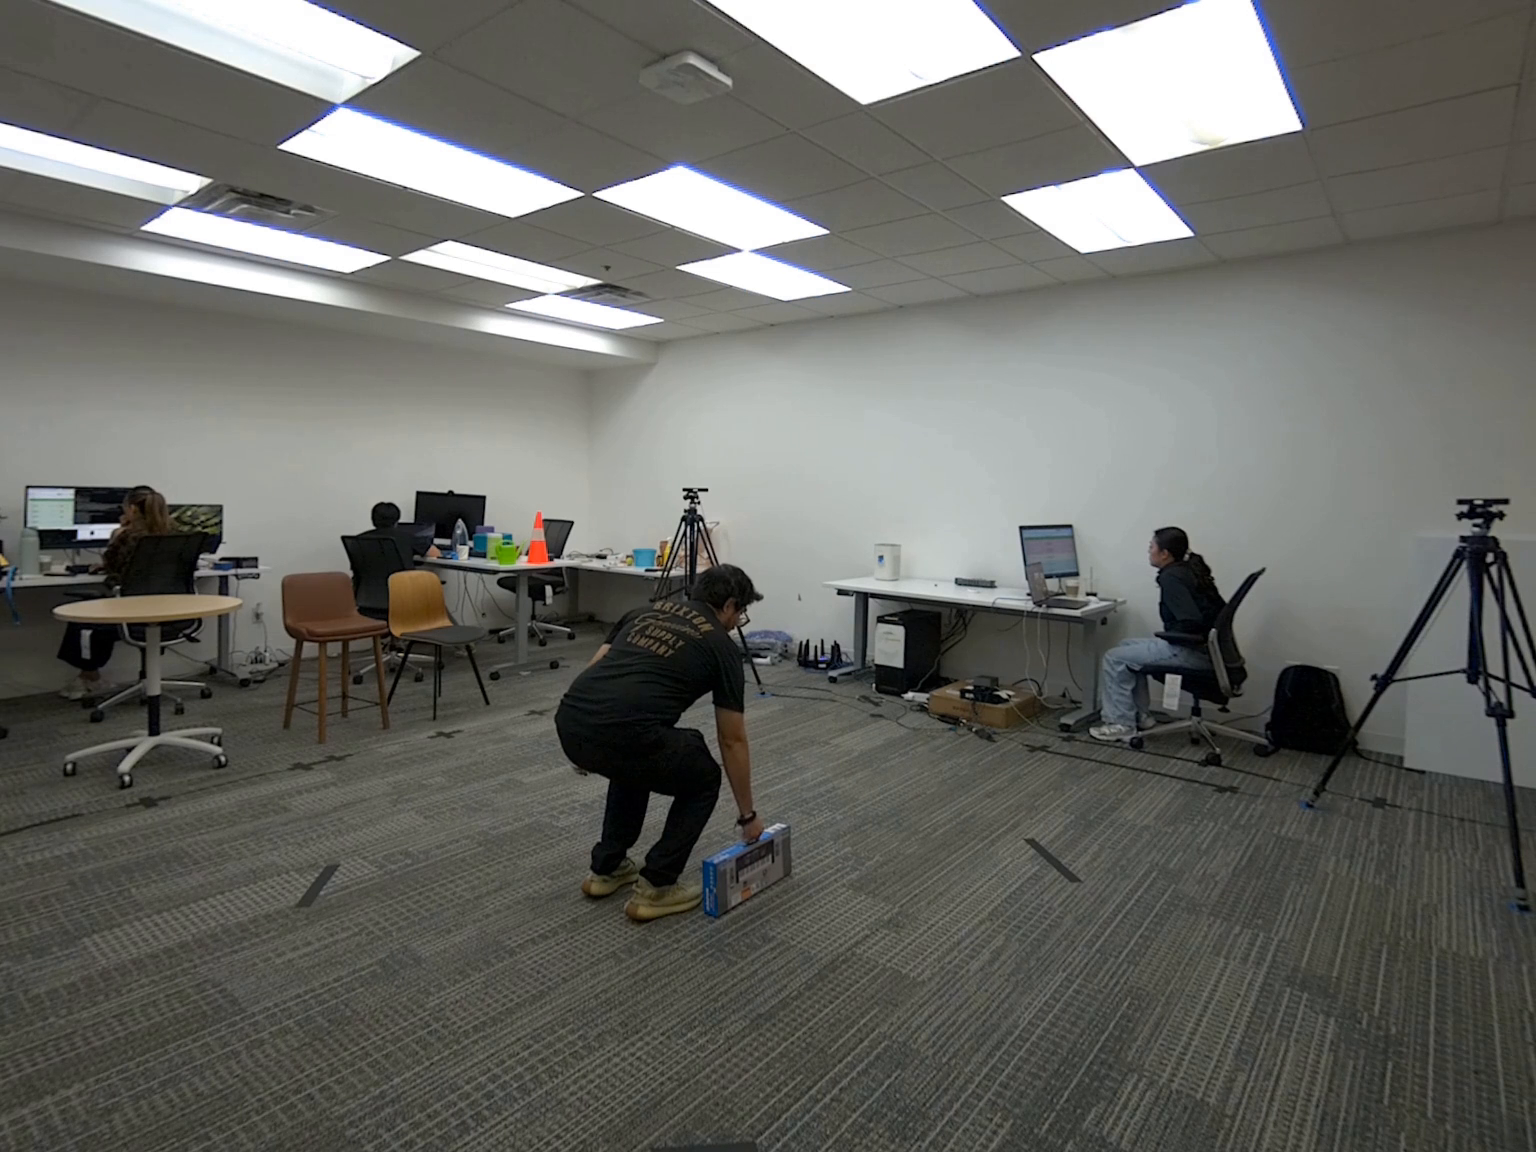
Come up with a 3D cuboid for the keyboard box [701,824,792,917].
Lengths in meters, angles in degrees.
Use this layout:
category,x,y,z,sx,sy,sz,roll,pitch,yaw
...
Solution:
category,x,y,z,sx,sy,sz,roll,pitch,yaw
keyboard box,-0.071,1.007,2.932,0.061,0.176,0.424,-1,2,37
